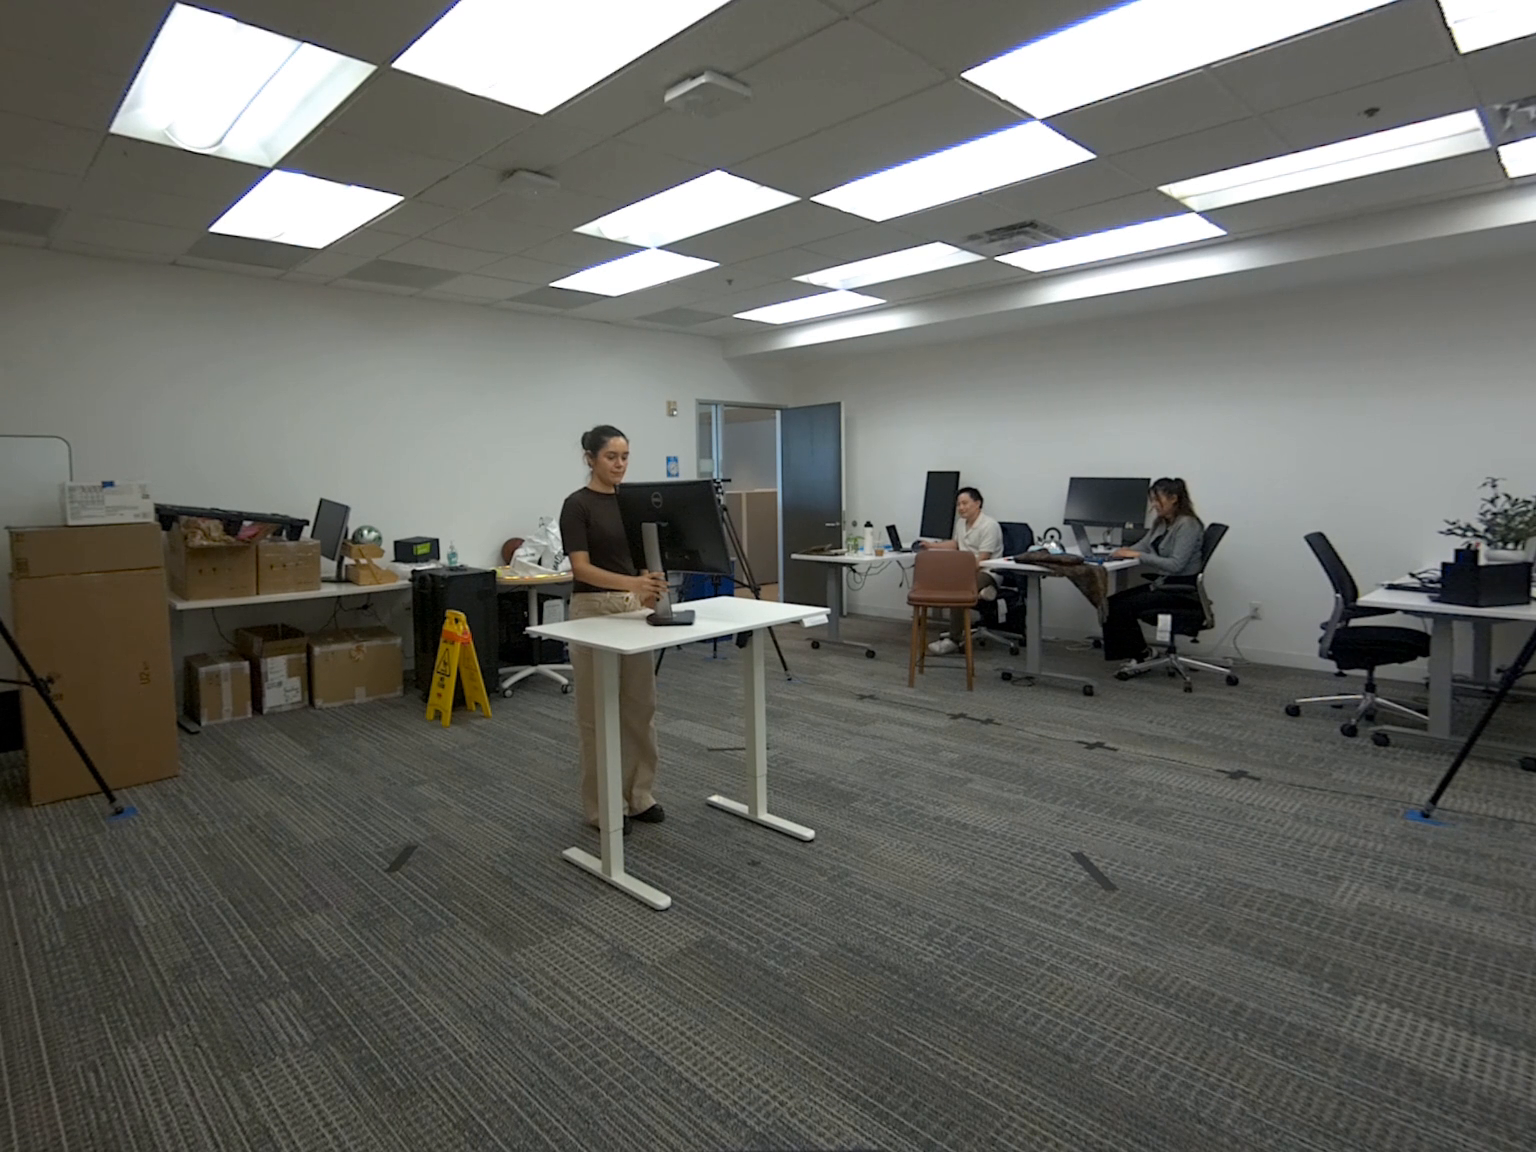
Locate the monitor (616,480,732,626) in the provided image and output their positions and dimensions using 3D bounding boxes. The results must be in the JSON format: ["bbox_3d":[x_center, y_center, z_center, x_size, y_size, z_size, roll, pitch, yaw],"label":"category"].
[{"bbox_3d":[-0.384,-0.090,3.160,0.554,0.522,0.182,1,2,38],"label":"monitor"}]
